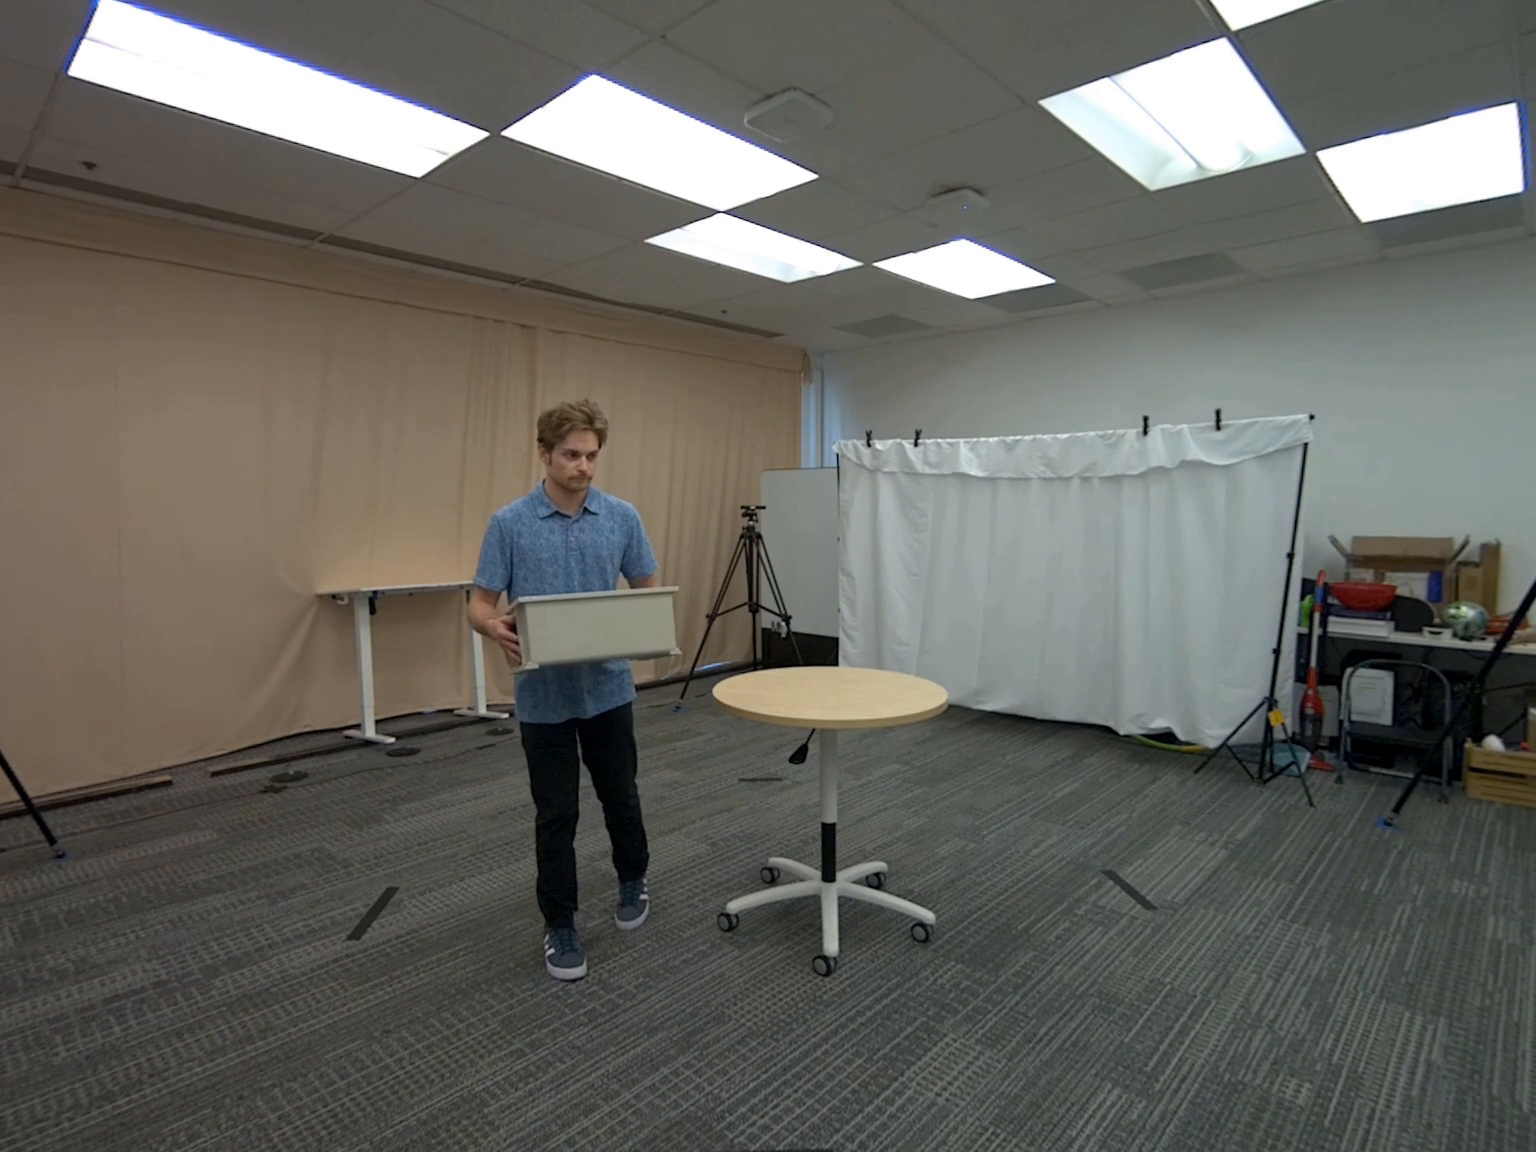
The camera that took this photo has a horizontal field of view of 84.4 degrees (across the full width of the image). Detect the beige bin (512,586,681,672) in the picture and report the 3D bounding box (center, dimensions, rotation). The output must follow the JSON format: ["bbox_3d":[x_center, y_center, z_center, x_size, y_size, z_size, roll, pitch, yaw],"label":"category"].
[{"bbox_3d":[-0.489,0.156,2.328,0.414,0.190,0.384,-3,-5,-21],"label":"beige bin"}]
